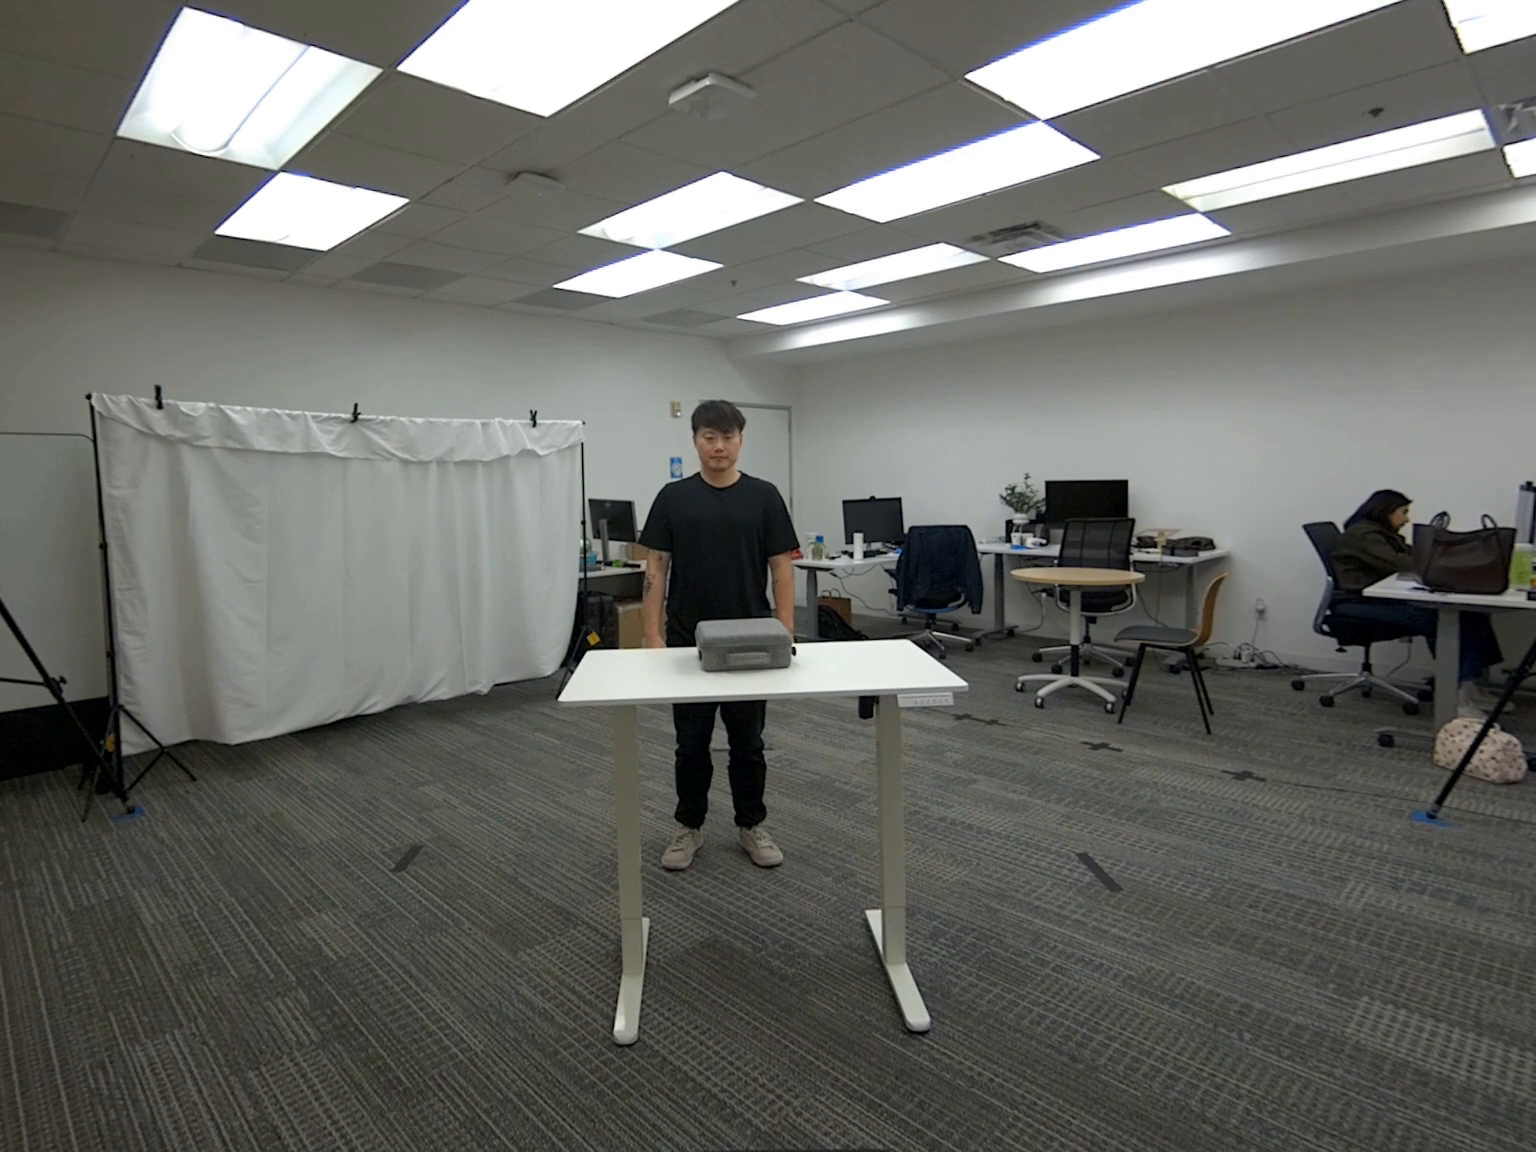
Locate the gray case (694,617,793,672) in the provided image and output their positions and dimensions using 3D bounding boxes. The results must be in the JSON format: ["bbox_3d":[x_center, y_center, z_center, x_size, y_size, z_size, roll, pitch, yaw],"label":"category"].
[{"bbox_3d":[-0.085,0.193,2.423,0.255,0.104,0.264,-1,8,-8],"label":"gray case"}]
